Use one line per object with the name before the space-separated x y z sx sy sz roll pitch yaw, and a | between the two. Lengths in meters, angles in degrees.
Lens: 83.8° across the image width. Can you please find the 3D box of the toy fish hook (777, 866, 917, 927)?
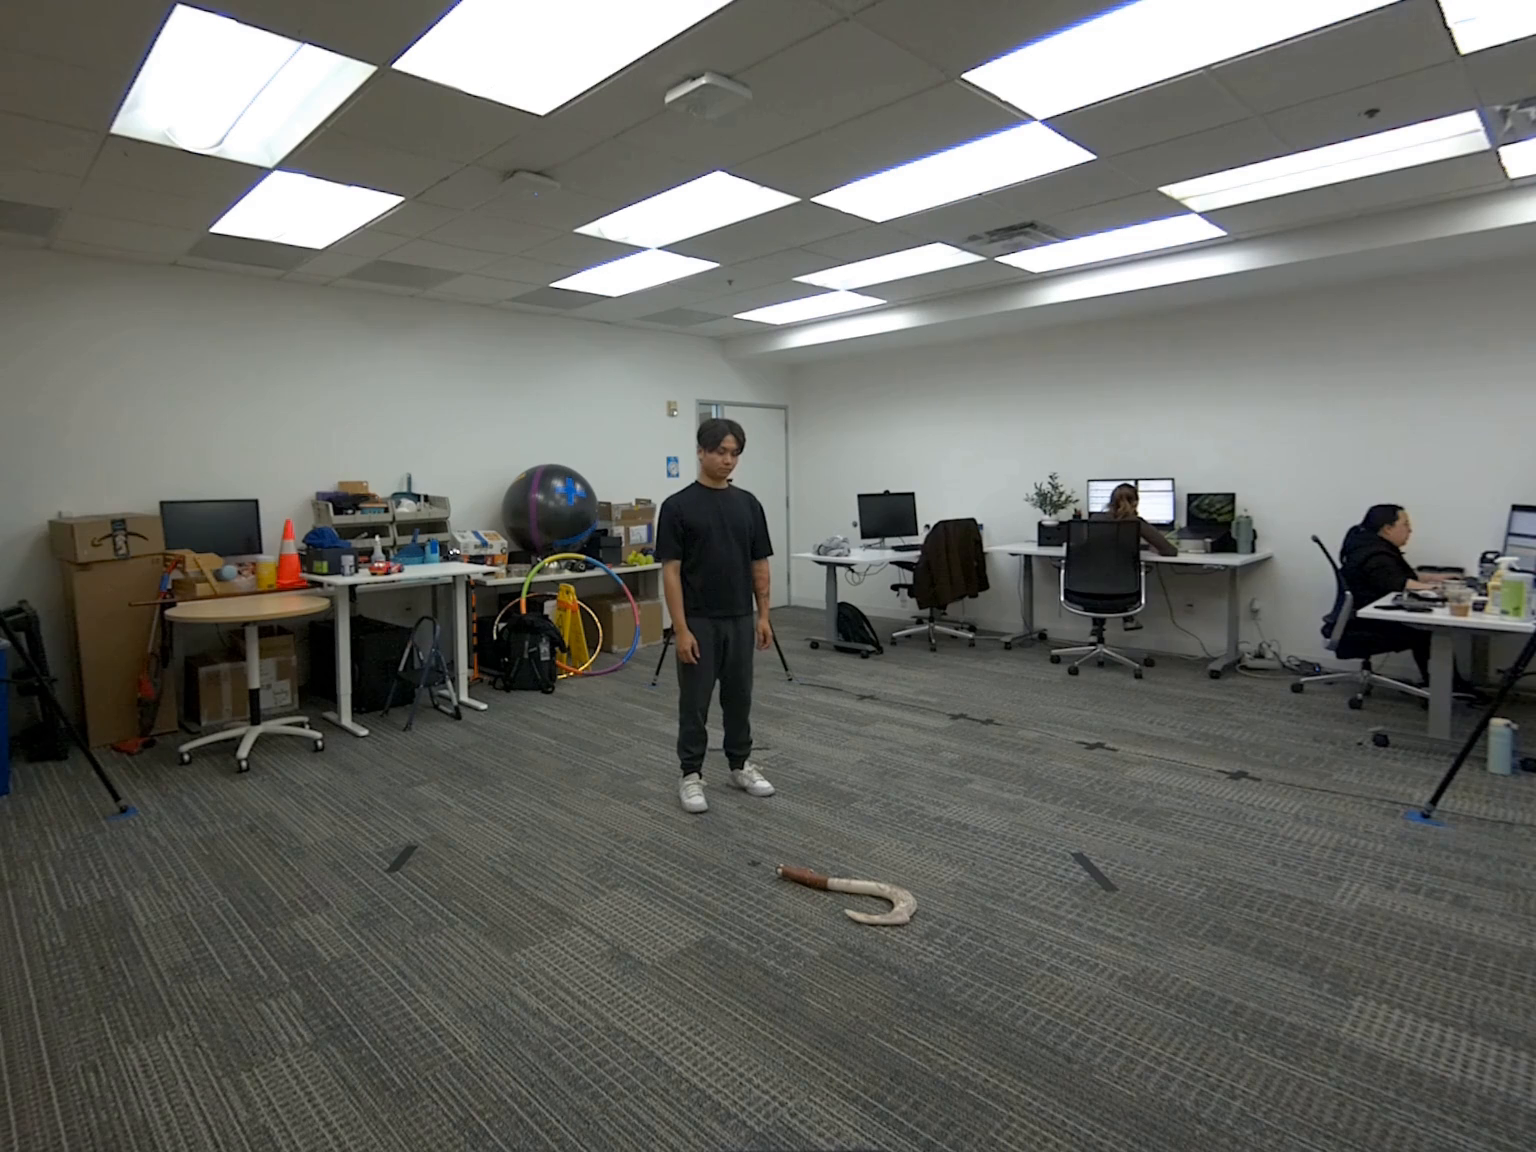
toy fish hook | 0.235 1.050 2.823 0.520 0.048 0.220 2 6 30
